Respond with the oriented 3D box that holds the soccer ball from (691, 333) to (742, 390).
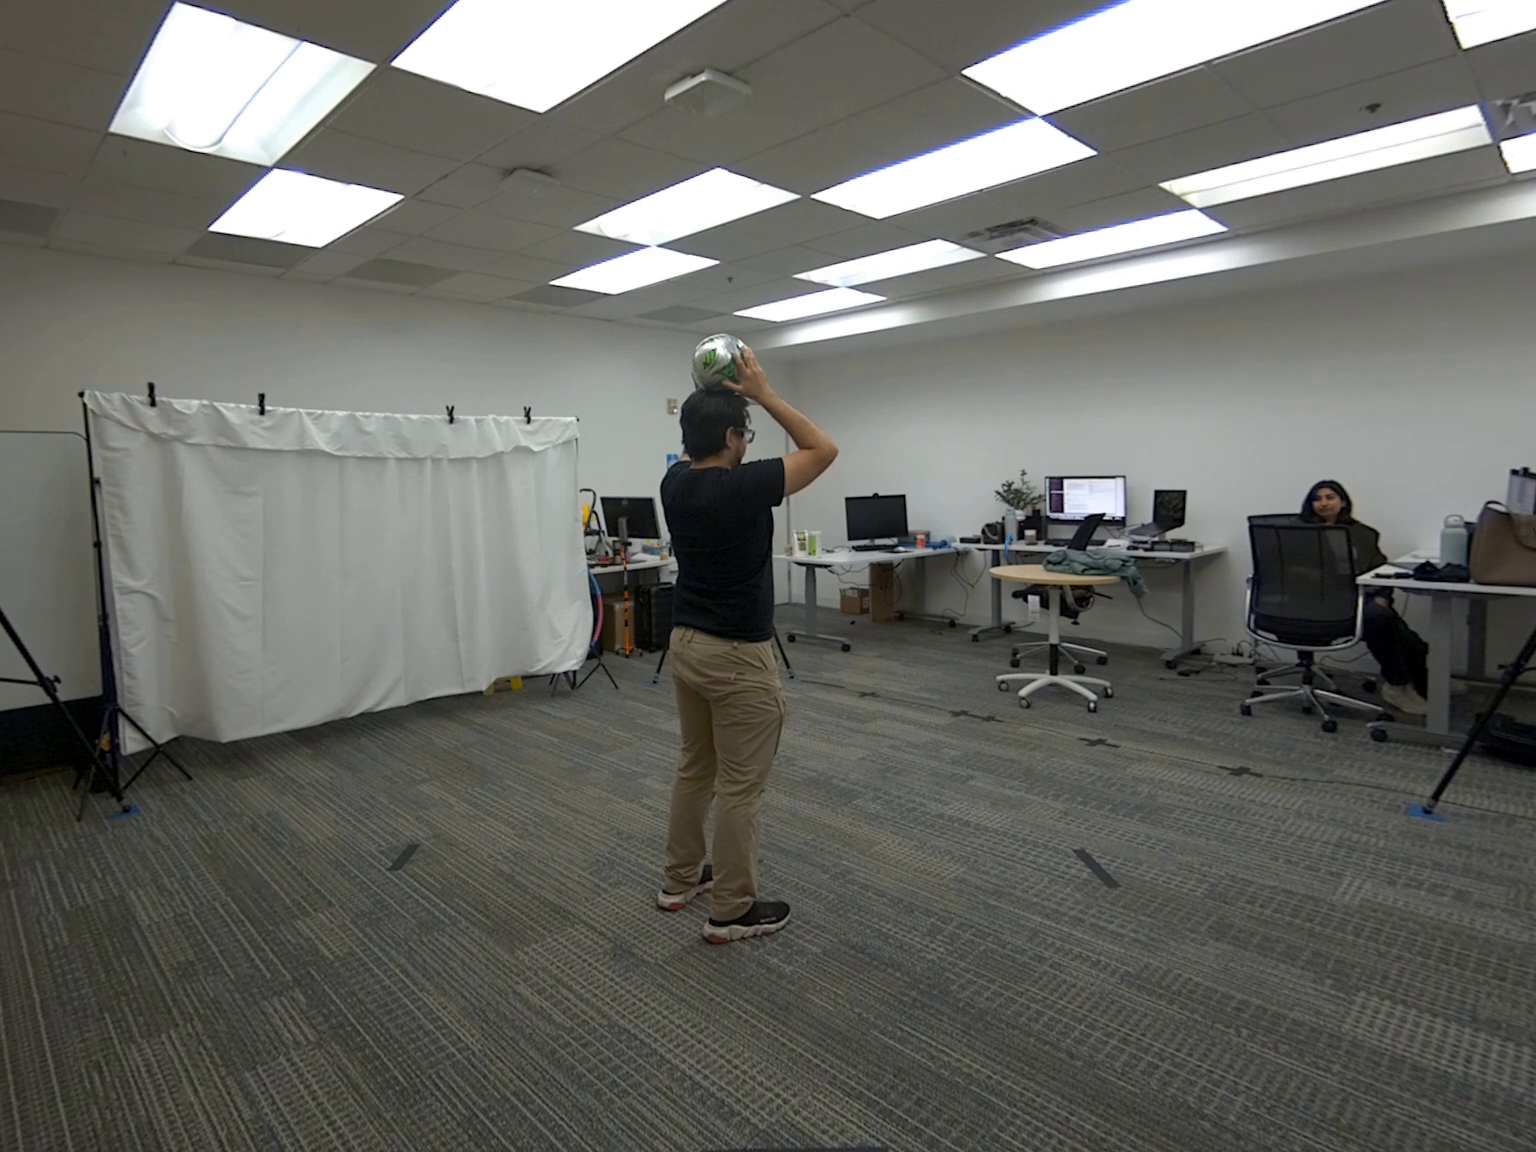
[{"bbox_3d":[-0.138,-0.646,2.629,0.187,0.187,0.188,-1,5,-2],"label":"soccer ball"}]
